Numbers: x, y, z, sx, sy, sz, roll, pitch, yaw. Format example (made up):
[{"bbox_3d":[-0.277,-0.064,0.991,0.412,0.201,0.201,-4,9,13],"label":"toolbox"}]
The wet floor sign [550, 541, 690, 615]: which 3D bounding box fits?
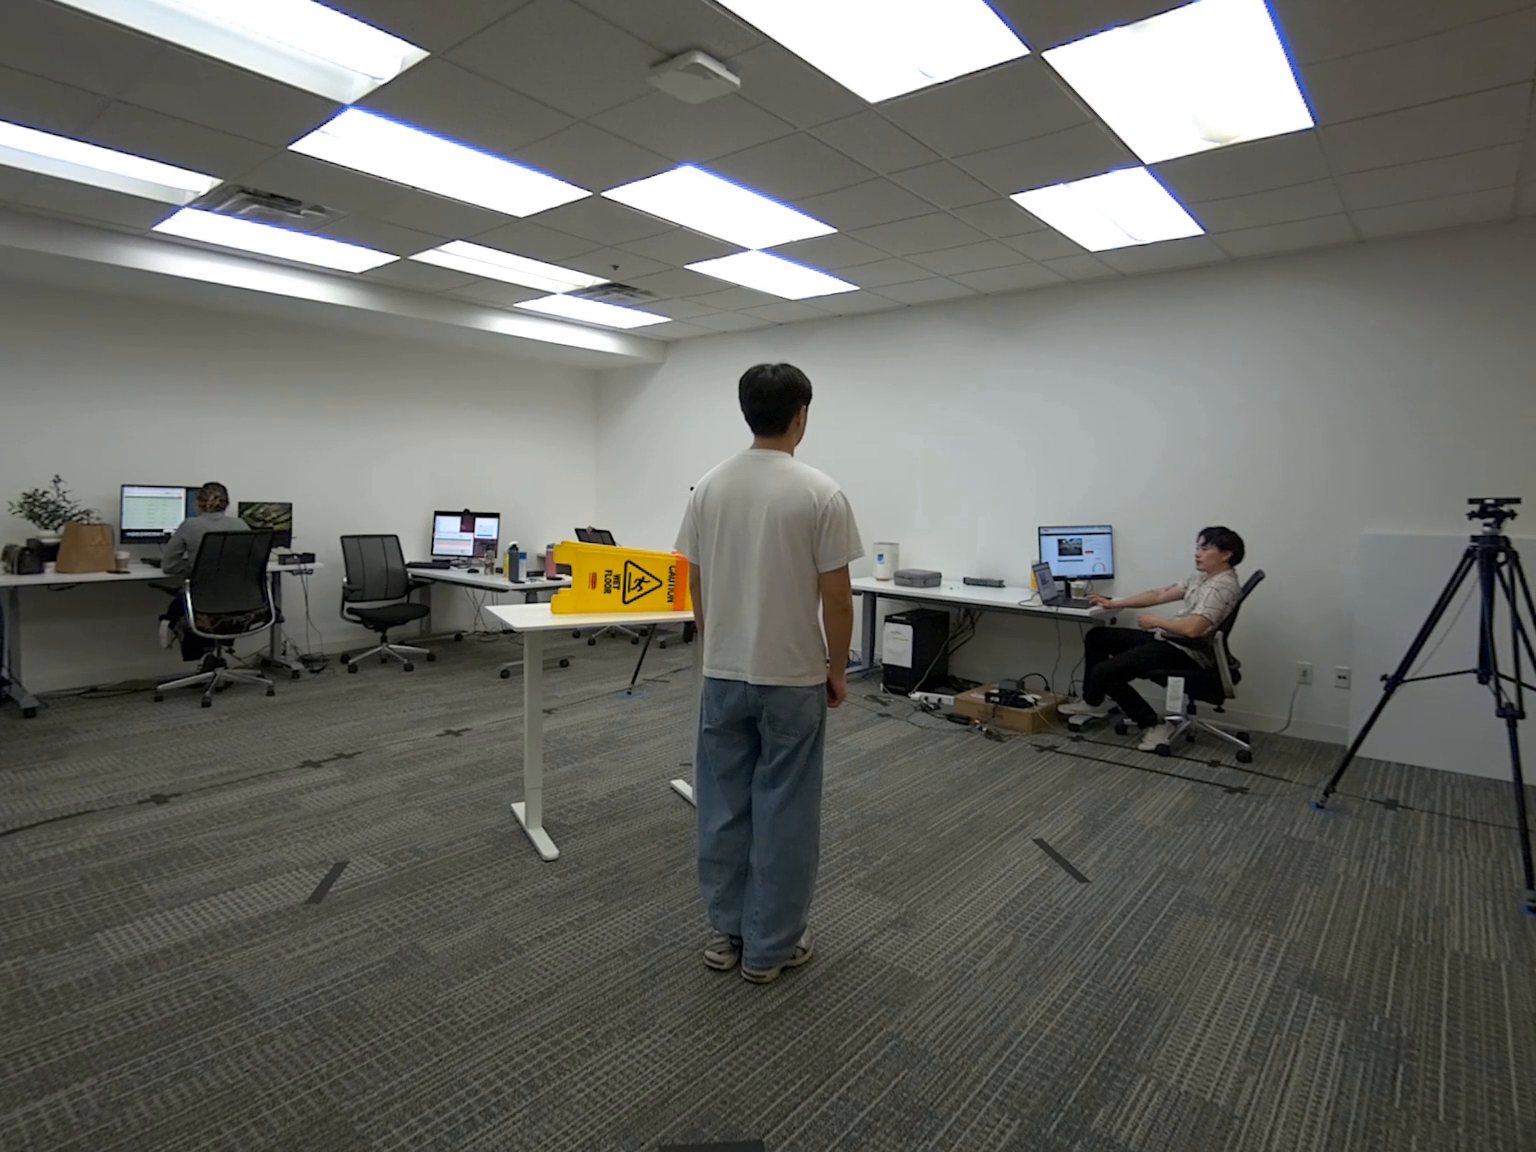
[{"bbox_3d":[-0.561,0.014,3.501,0.644,0.281,0.292,3,5,-4],"label":"wet floor sign"}]
